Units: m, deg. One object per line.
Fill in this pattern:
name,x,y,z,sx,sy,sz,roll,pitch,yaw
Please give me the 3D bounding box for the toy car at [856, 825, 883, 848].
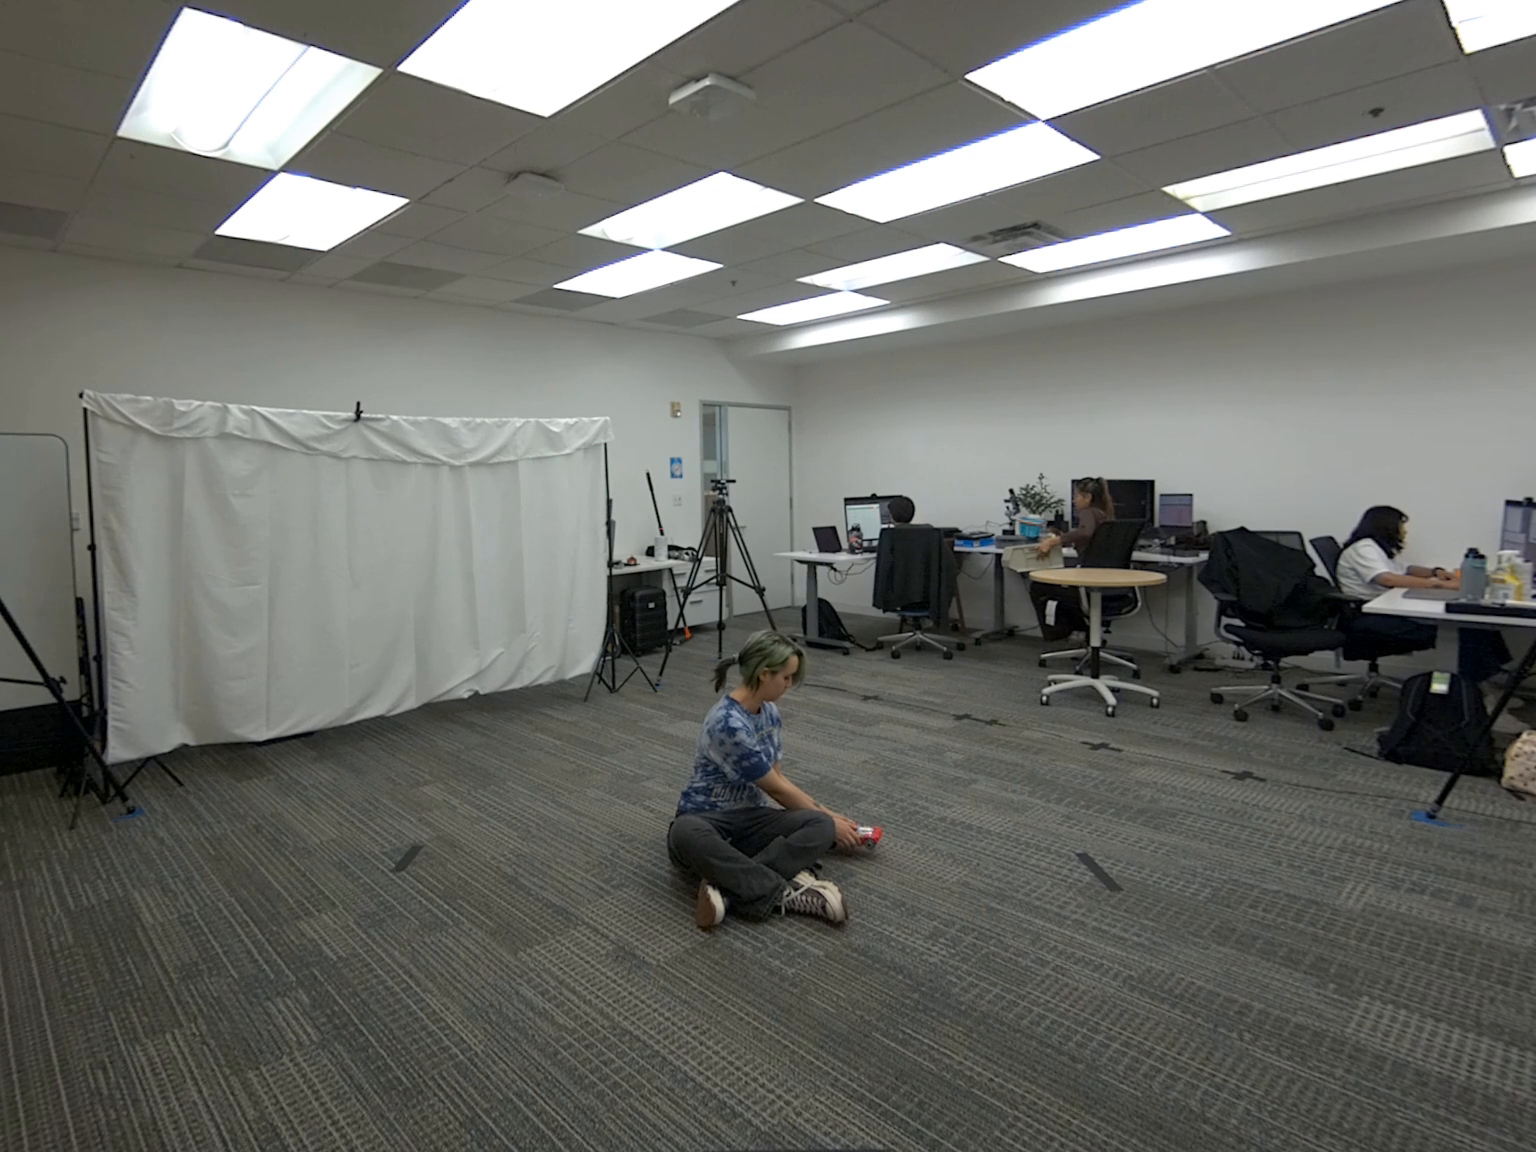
toy car,0.292,0.965,3.187,0.259,0.083,0.128,5,6,18
